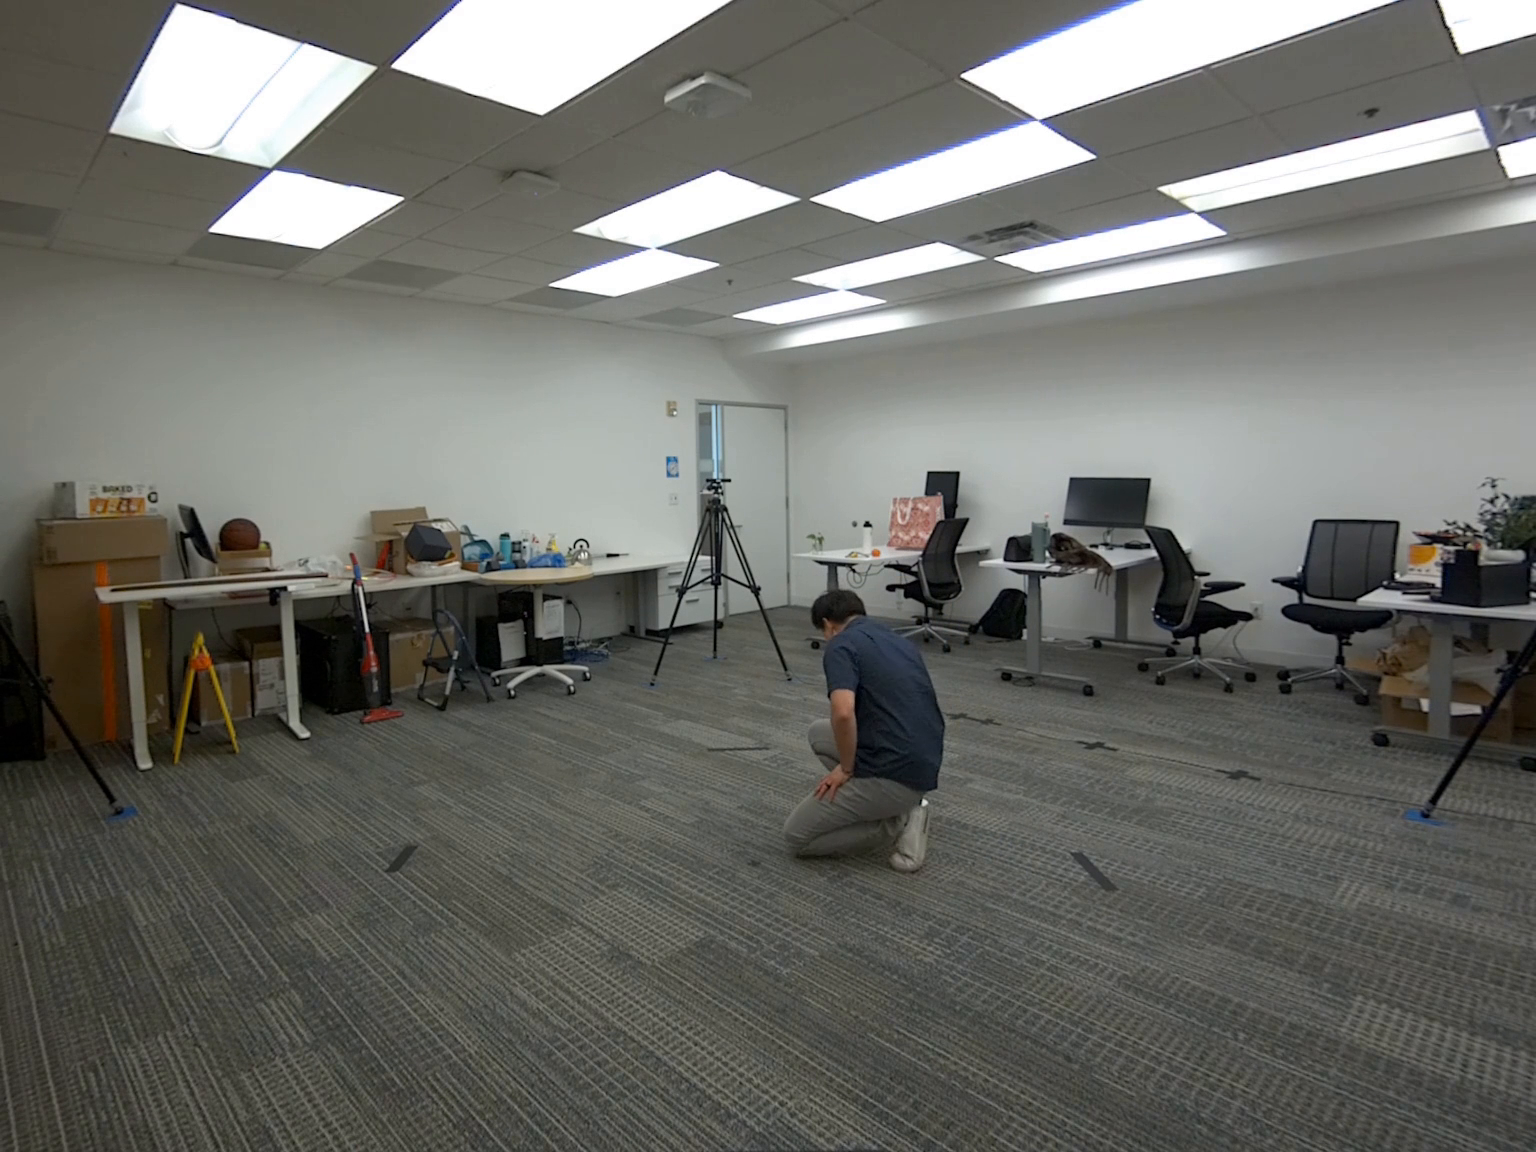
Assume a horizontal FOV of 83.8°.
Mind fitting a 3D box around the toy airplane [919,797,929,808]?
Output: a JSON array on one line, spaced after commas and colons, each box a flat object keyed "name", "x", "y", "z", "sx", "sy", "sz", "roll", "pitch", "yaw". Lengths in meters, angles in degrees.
[{"name": "toy airplane", "x": 0.547, "y": 0.911, "z": 3.577, "sx": 0.263, "sy": 0.156, "sz": 0.248, "roll": 0, "pitch": 5, "yaw": 14}]
